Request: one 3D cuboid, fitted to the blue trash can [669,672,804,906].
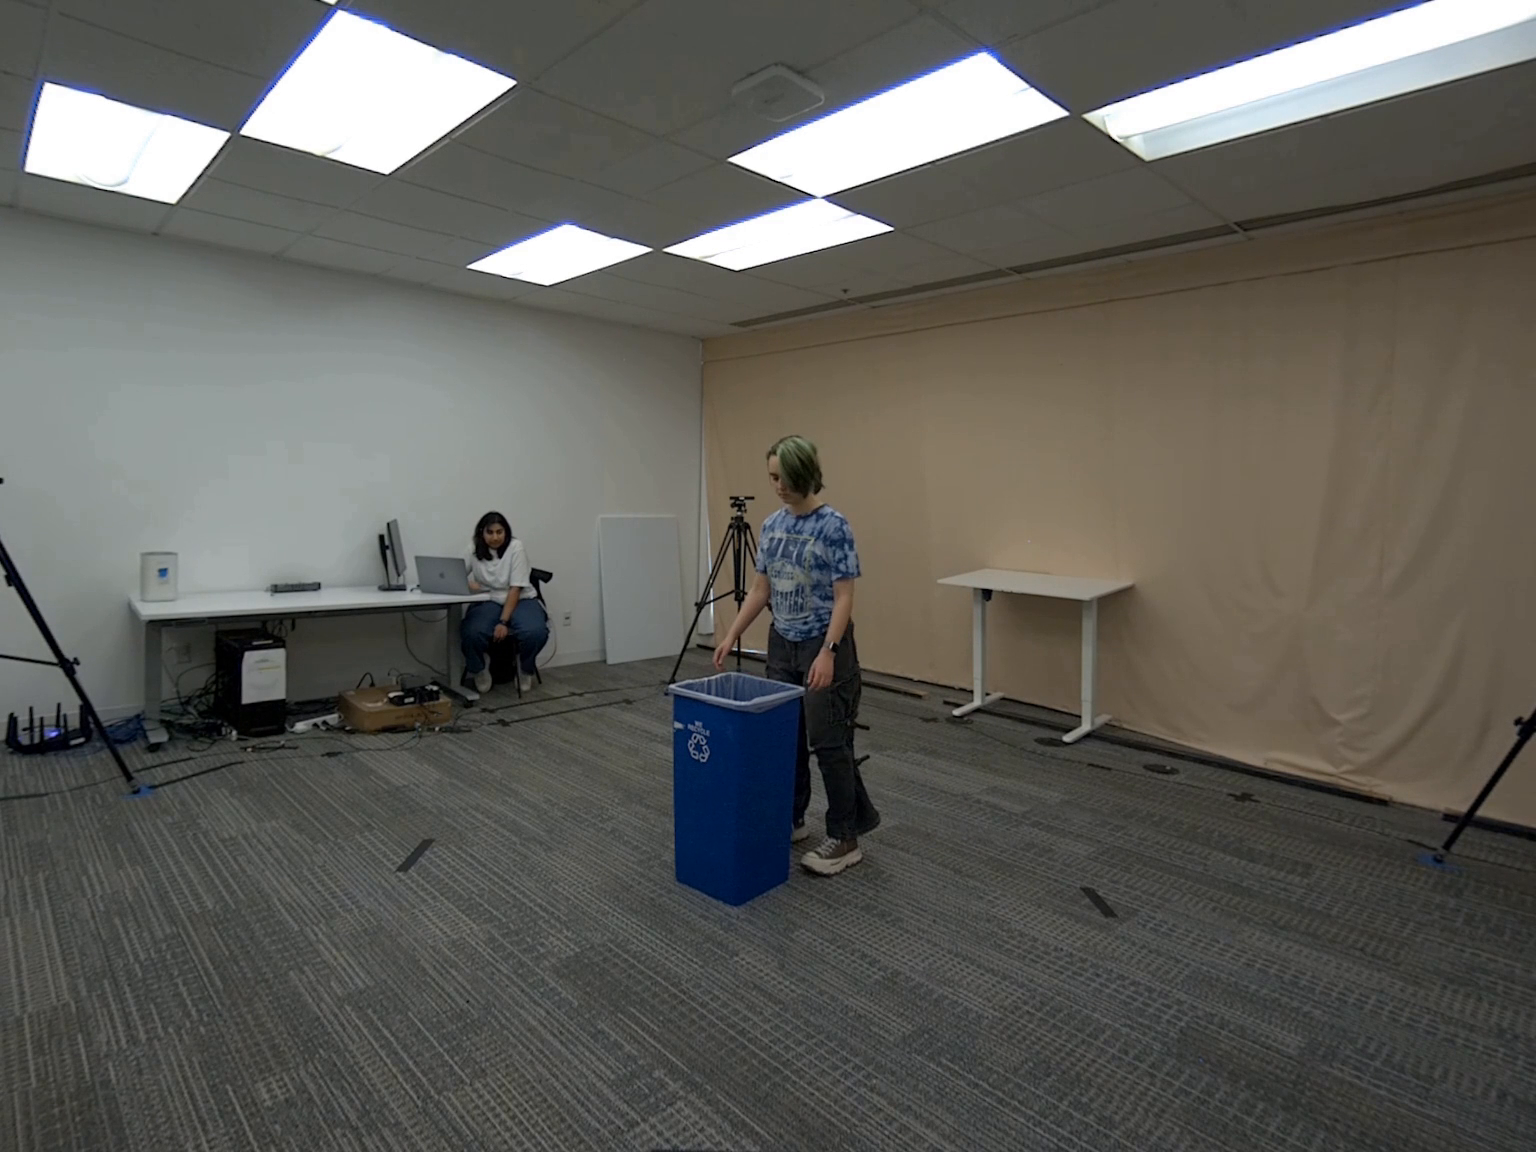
[{"bbox_3d":[-0.125,0.753,3.042,0.383,0.712,0.369,4,4,40],"label":"blue trash can"}]
